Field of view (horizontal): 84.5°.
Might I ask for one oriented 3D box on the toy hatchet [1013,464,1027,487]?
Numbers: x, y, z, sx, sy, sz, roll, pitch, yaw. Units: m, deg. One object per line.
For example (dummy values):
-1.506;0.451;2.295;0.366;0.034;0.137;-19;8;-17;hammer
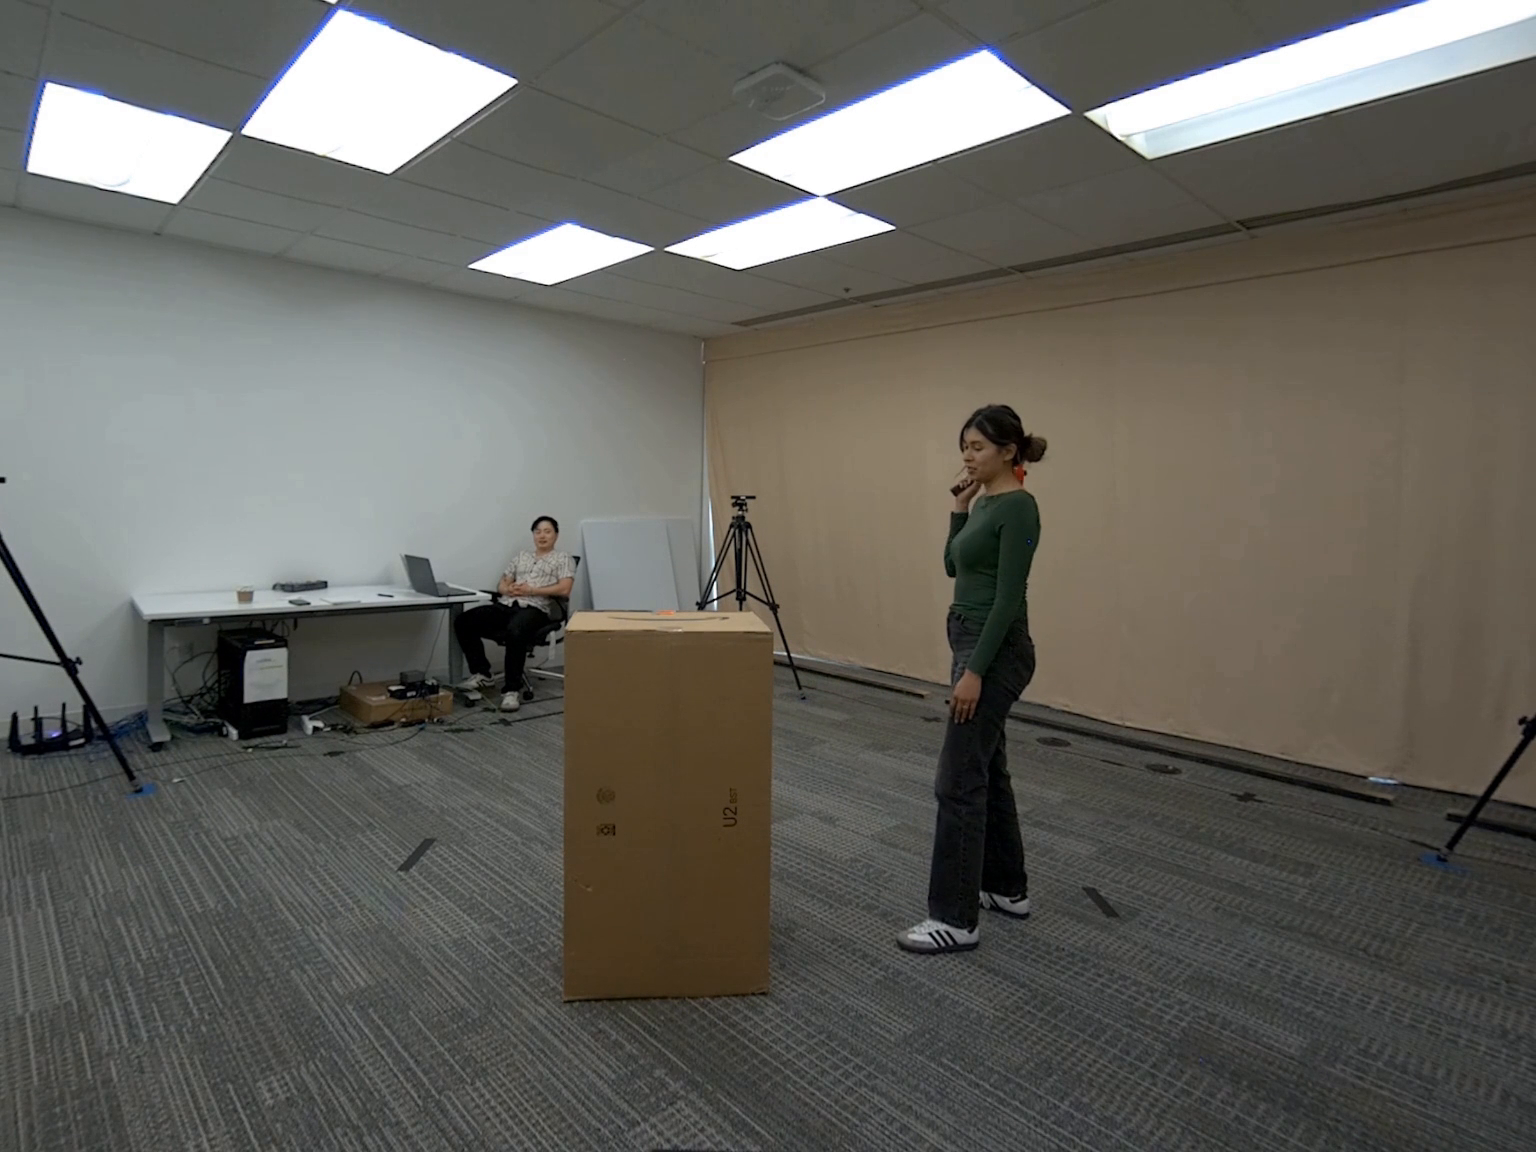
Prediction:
0.803;-0.331;3.064;0.271;0.129;0.030;-26;17;8;toy hatchet
